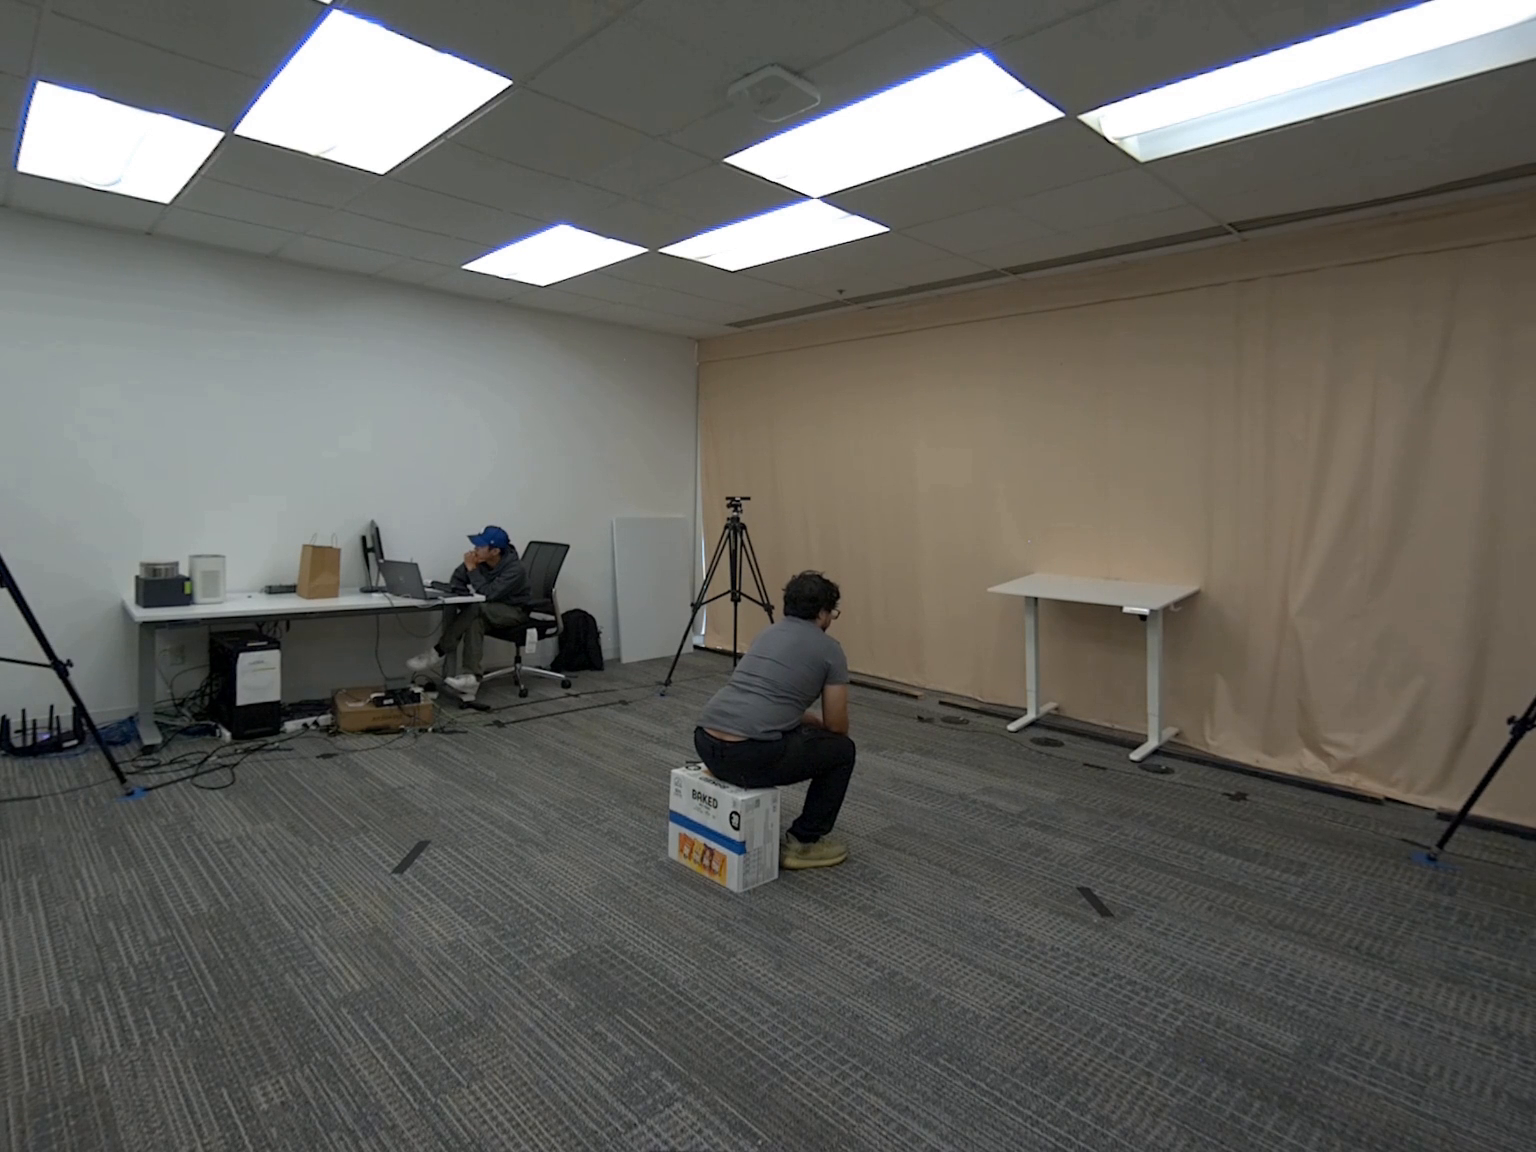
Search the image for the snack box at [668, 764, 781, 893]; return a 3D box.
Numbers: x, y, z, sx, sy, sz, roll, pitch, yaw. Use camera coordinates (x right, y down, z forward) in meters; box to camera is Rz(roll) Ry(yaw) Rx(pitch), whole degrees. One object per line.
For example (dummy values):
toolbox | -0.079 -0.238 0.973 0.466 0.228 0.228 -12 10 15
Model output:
snack box | -0.178 0.933 3.166 0.201 0.339 0.416 -1 5 -44
